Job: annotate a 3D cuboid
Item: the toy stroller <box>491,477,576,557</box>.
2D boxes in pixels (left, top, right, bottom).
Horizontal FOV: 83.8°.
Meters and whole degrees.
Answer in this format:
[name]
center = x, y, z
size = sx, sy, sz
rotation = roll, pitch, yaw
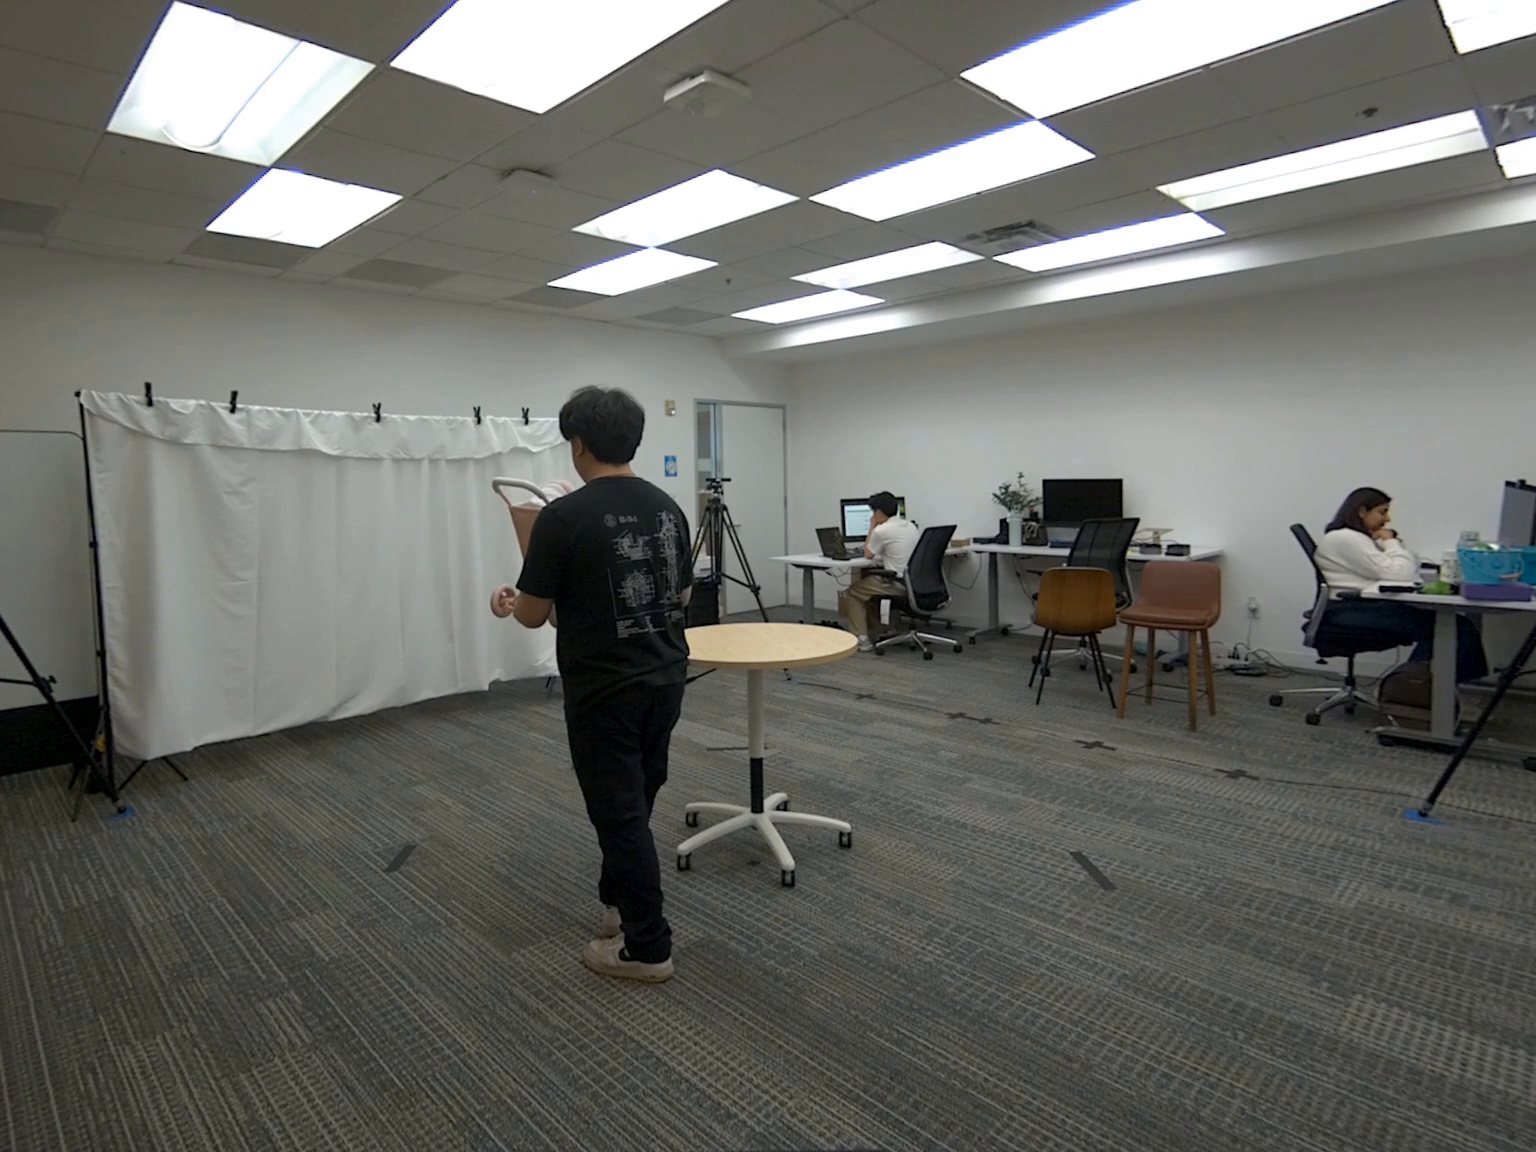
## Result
[toy stroller]
center = -0.683, -0.070, 2.766
size = 0.290, 0.529, 0.335
rotation = 7, 14, 33
